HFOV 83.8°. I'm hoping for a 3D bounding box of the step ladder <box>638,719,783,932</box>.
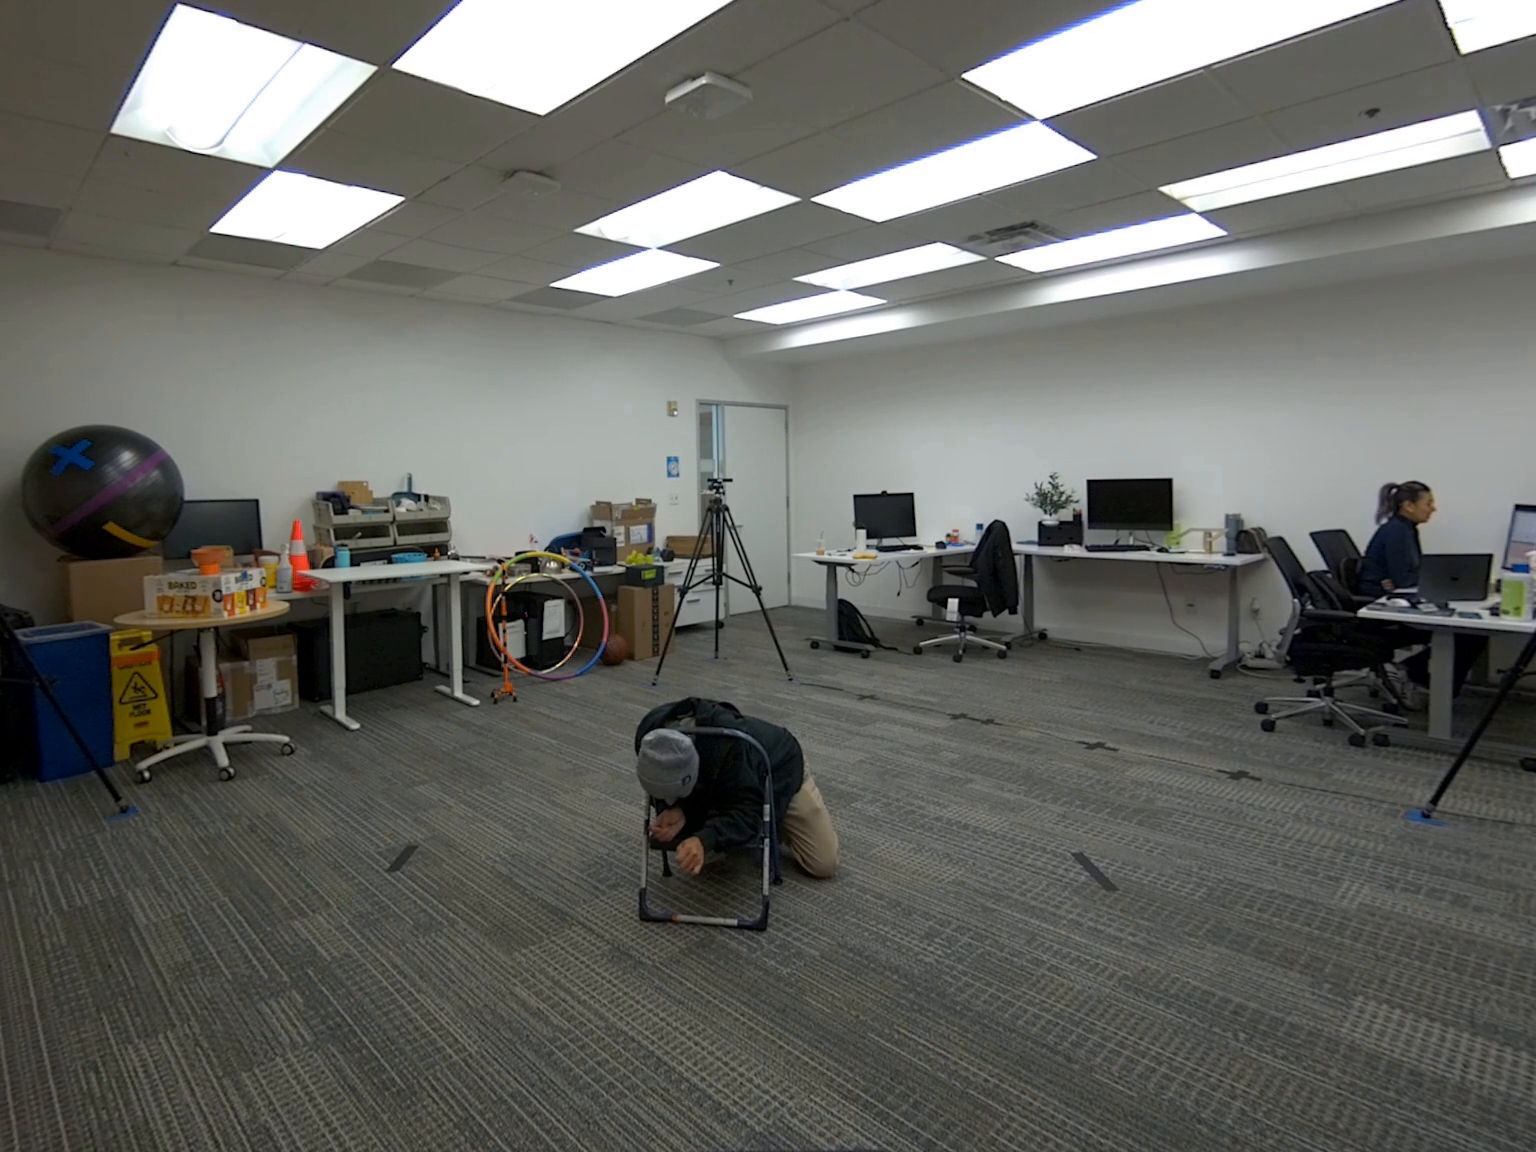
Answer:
[{"bbox_3d":[-0.191,0.791,2.813,0.434,0.603,0.348,-1,5,8],"label":"step ladder"}]
